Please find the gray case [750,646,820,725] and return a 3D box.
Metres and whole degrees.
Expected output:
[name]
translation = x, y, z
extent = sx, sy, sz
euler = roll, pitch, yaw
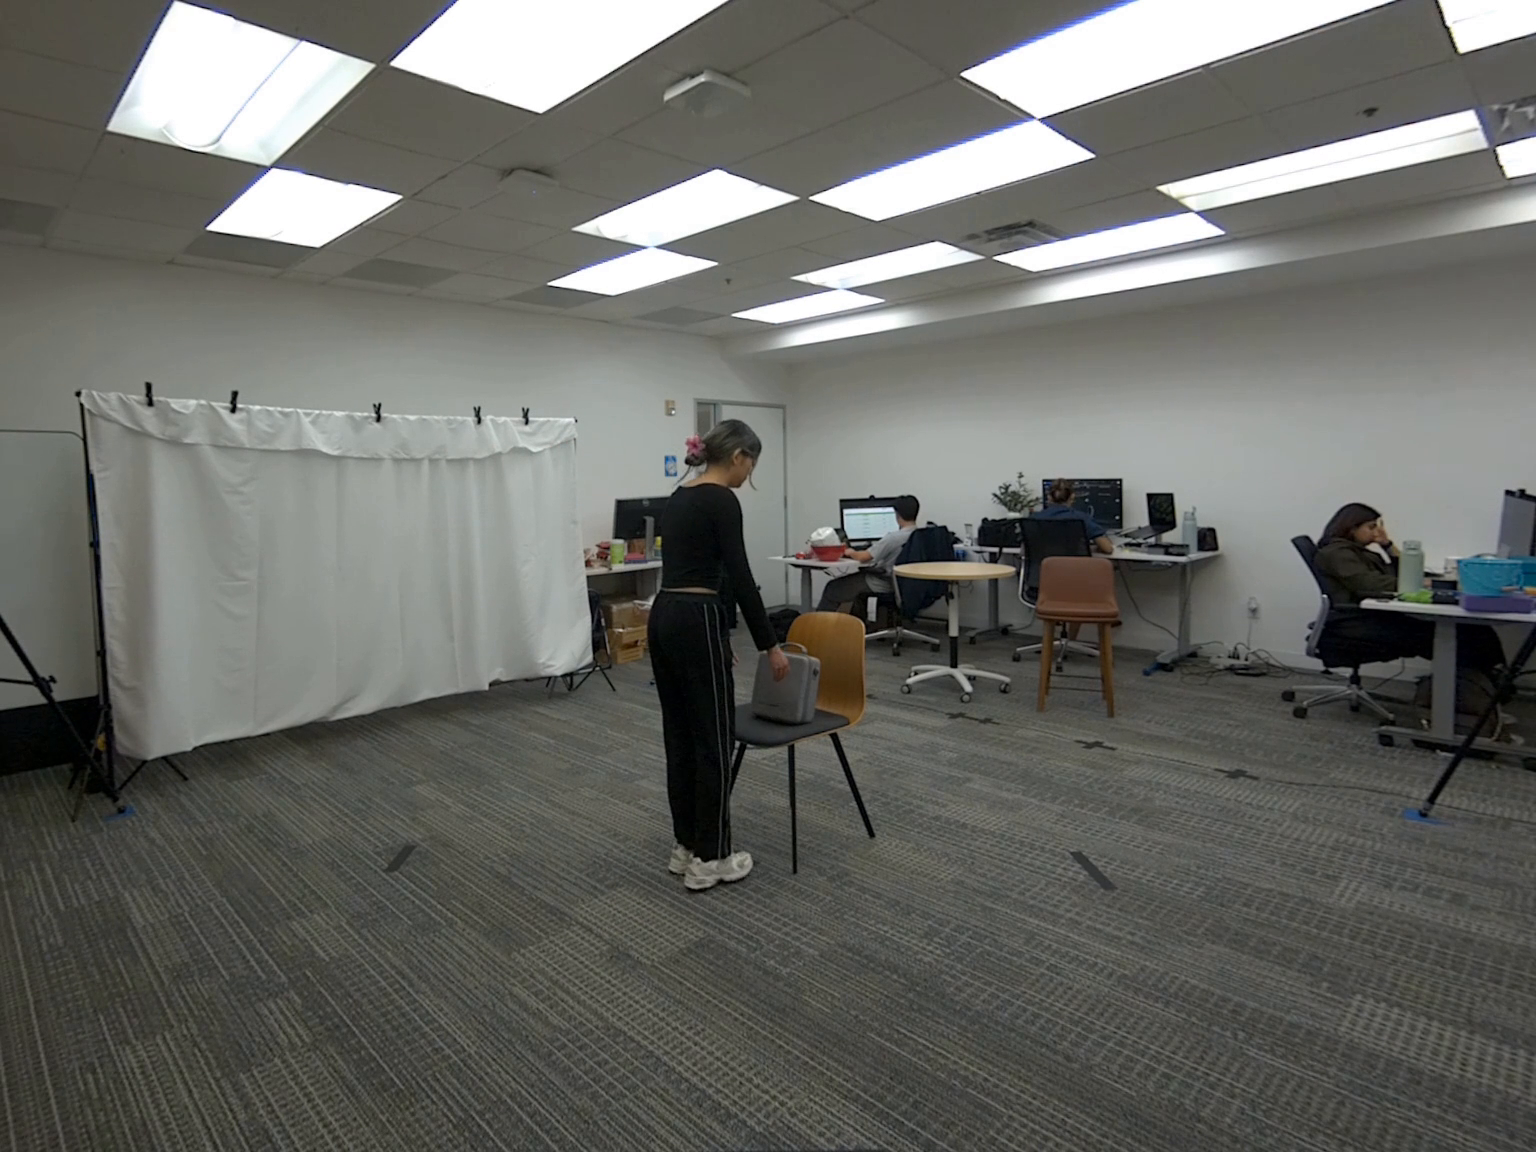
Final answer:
[gray case]
translation = 0.068, 0.411, 3.244
extent = 0.101, 0.262, 0.265
euler = 15, -9, -44
